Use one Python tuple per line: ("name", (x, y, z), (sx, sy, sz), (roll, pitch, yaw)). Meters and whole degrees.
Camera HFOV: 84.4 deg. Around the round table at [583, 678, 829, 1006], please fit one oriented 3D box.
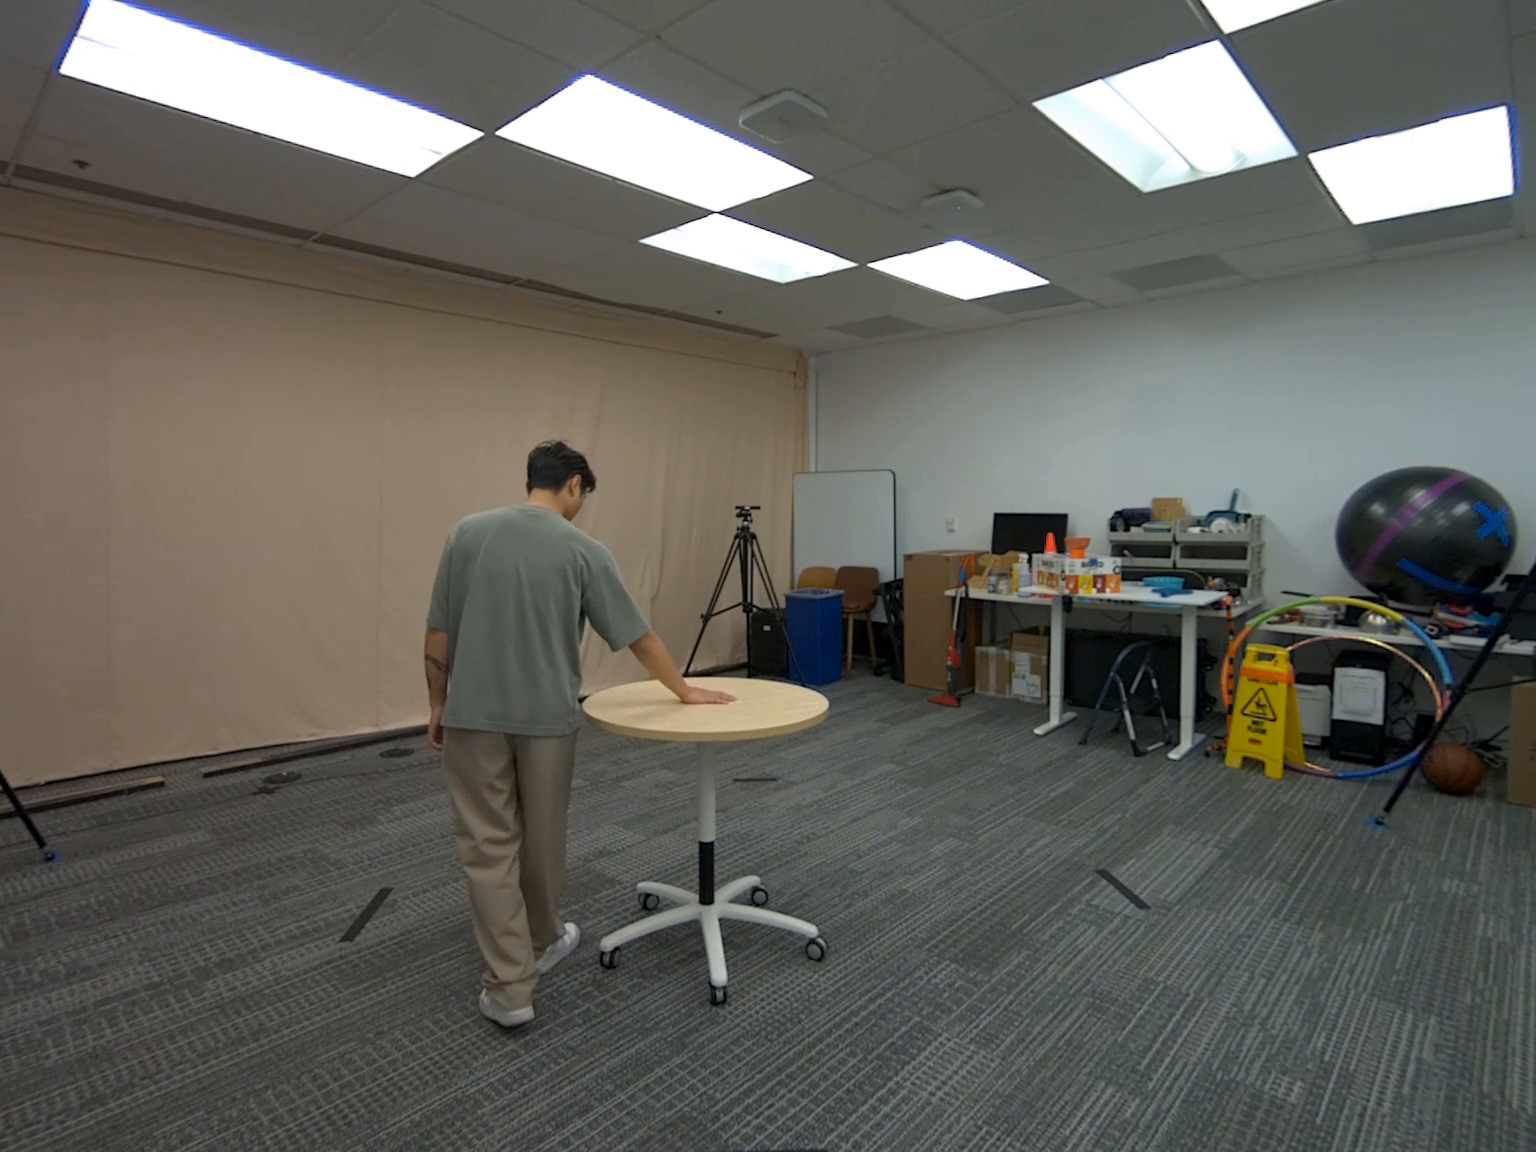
("round table", (-0.188, 0.787, 2.649), (0.763, 0.792, 0.766), (0, 3, -2))
